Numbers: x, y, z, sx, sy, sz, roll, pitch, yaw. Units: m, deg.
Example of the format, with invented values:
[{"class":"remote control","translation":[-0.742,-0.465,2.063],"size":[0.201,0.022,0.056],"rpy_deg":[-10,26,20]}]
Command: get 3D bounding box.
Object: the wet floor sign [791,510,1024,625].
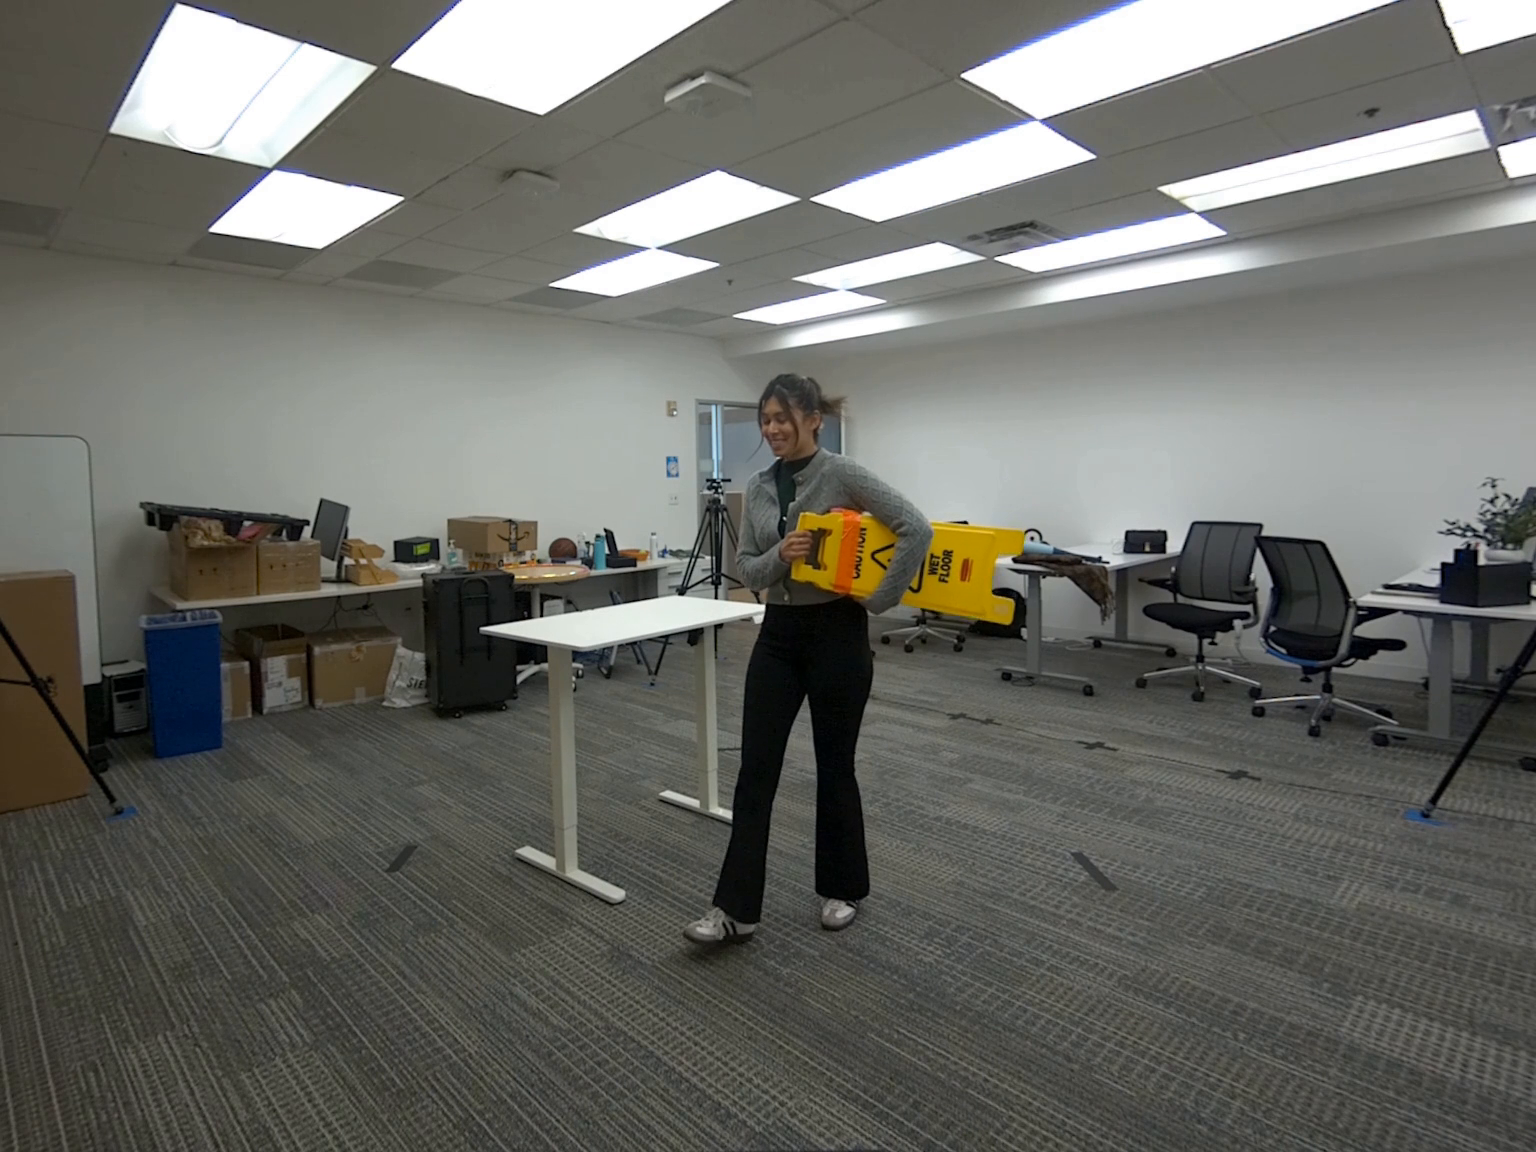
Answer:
[{"class":"wet floor sign","translation":[0.373,-0.045,2.537],"size":[0.637,0.282,0.294],"rpy_deg":[8,1,-14]}]
